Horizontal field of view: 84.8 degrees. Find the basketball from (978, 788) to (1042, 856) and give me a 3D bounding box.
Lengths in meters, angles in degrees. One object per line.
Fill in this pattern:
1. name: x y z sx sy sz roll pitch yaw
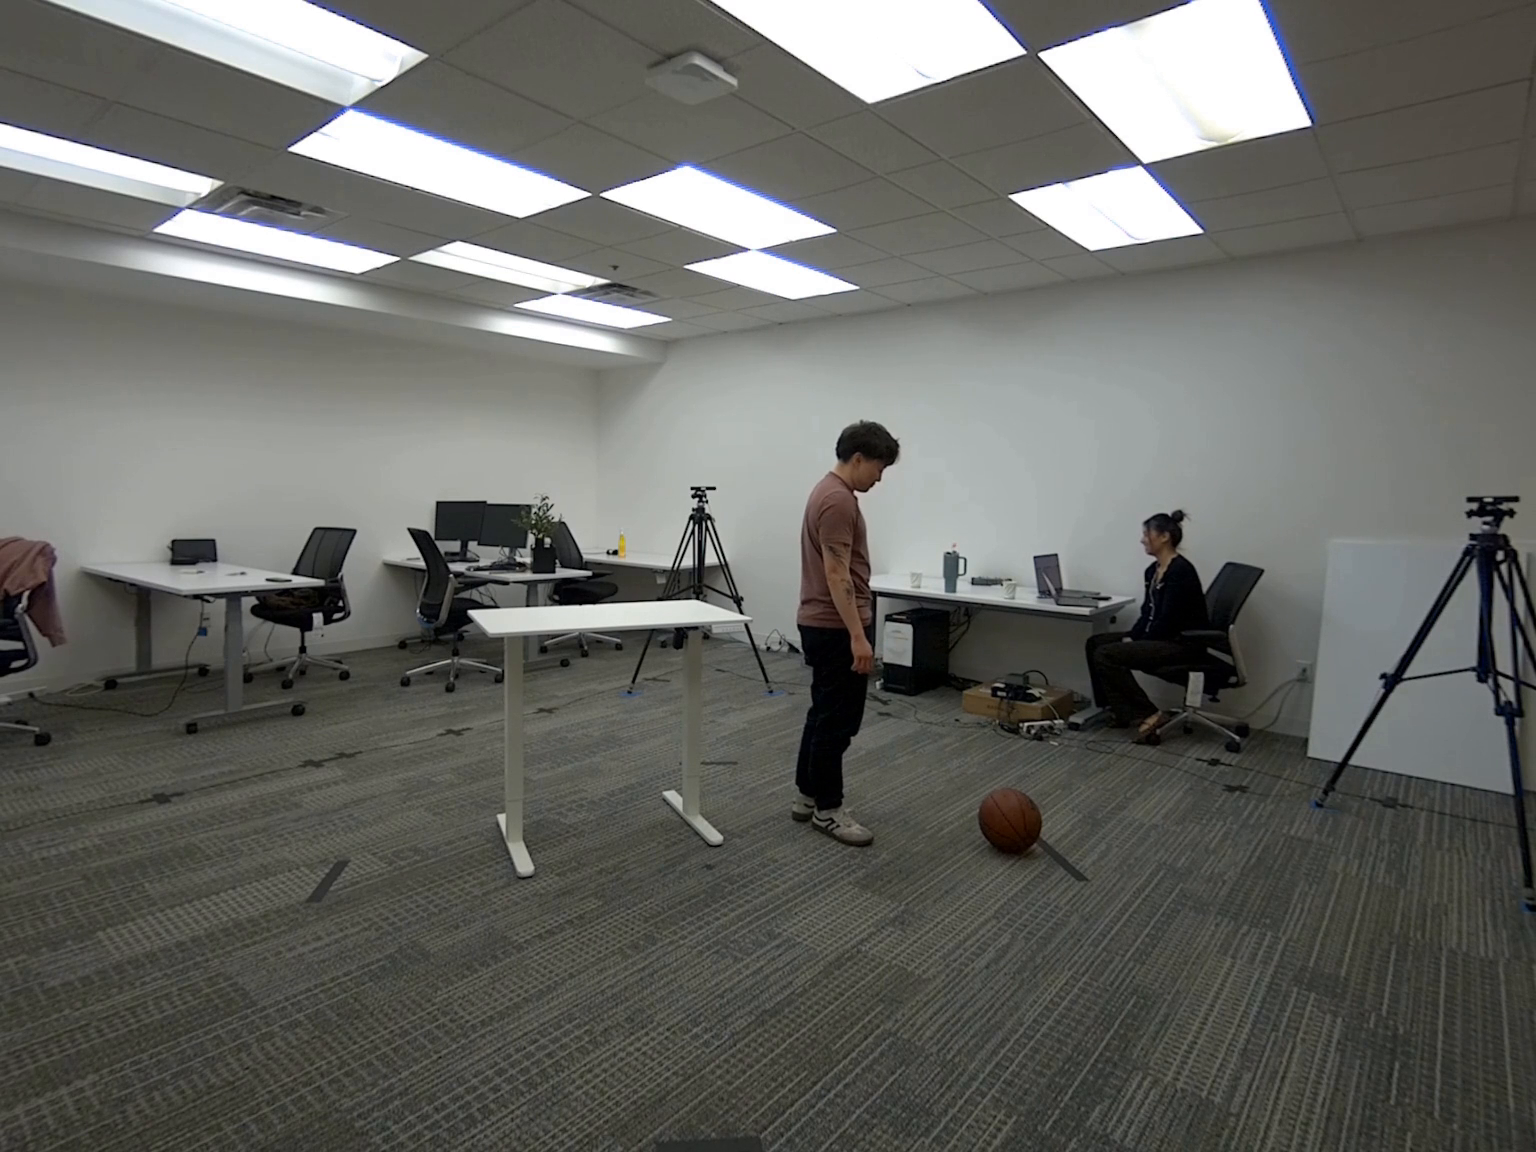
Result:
1. basketball: 0.940 0.945 3.329 0.235 0.235 0.237 1 4 -2
